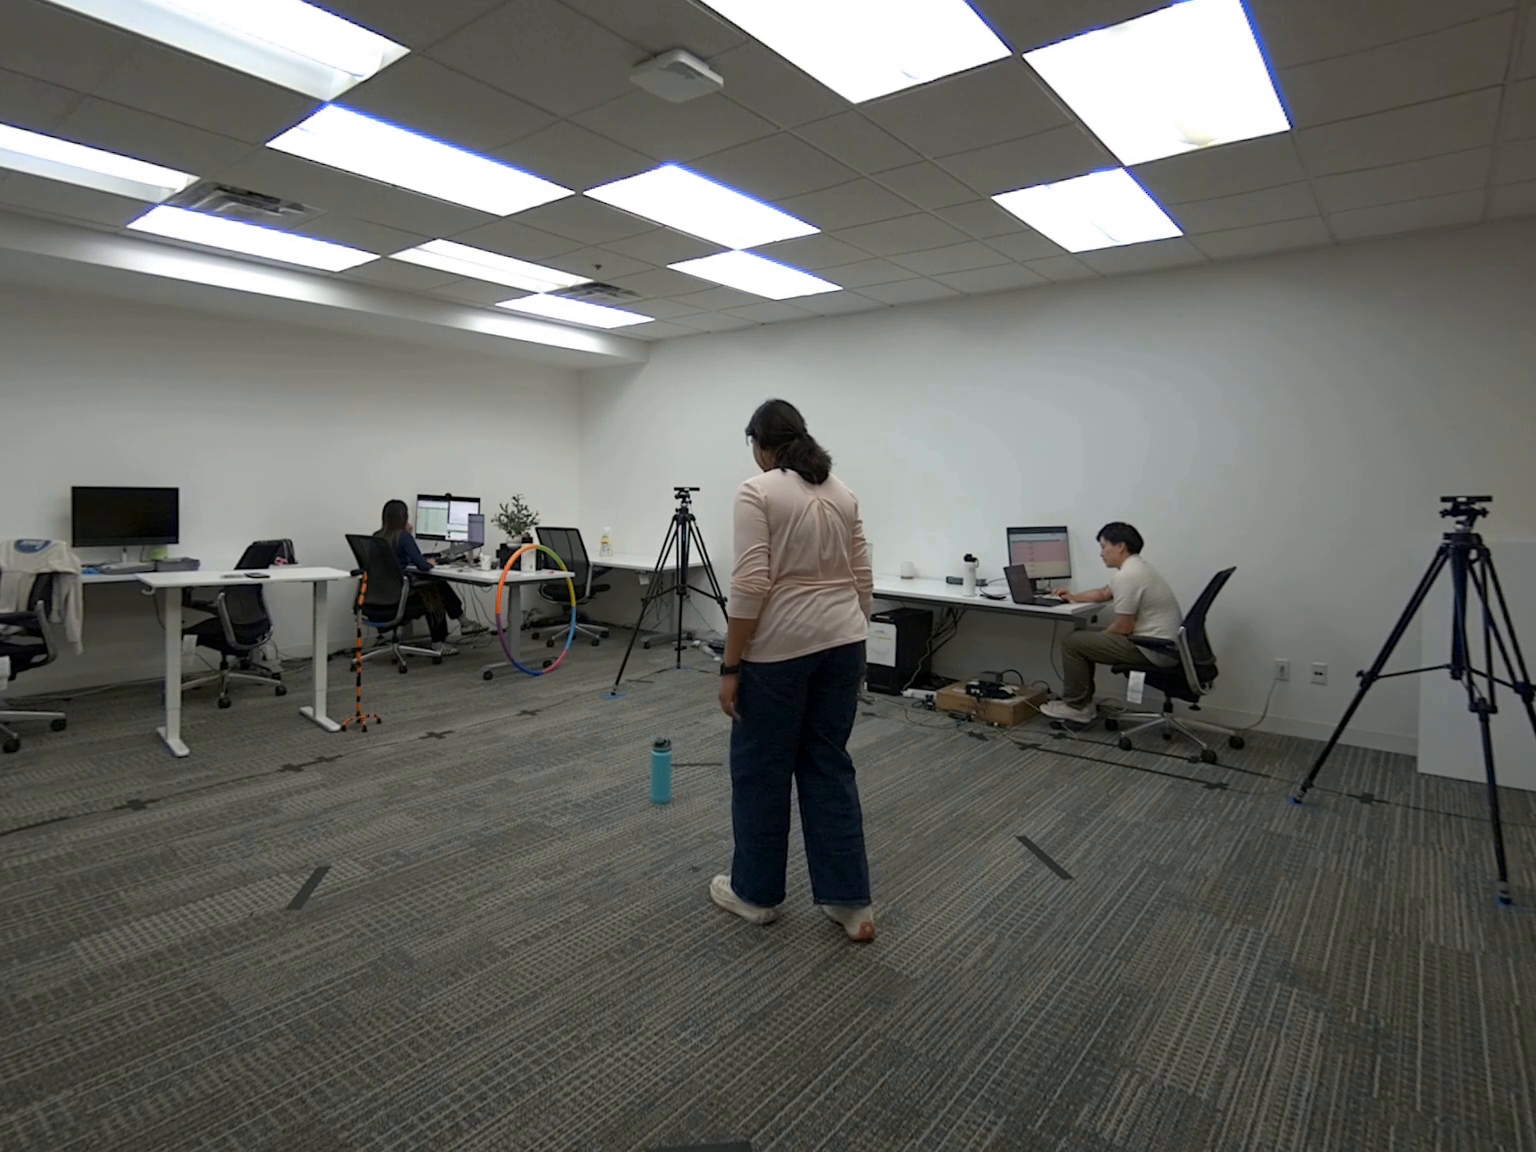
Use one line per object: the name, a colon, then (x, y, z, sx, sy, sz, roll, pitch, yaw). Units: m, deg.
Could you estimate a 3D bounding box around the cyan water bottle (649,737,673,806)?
cyan water bottle: (-0.487, 0.858, 3.788, 0.092, 0.283, 0.093, -1, 3, -2)
